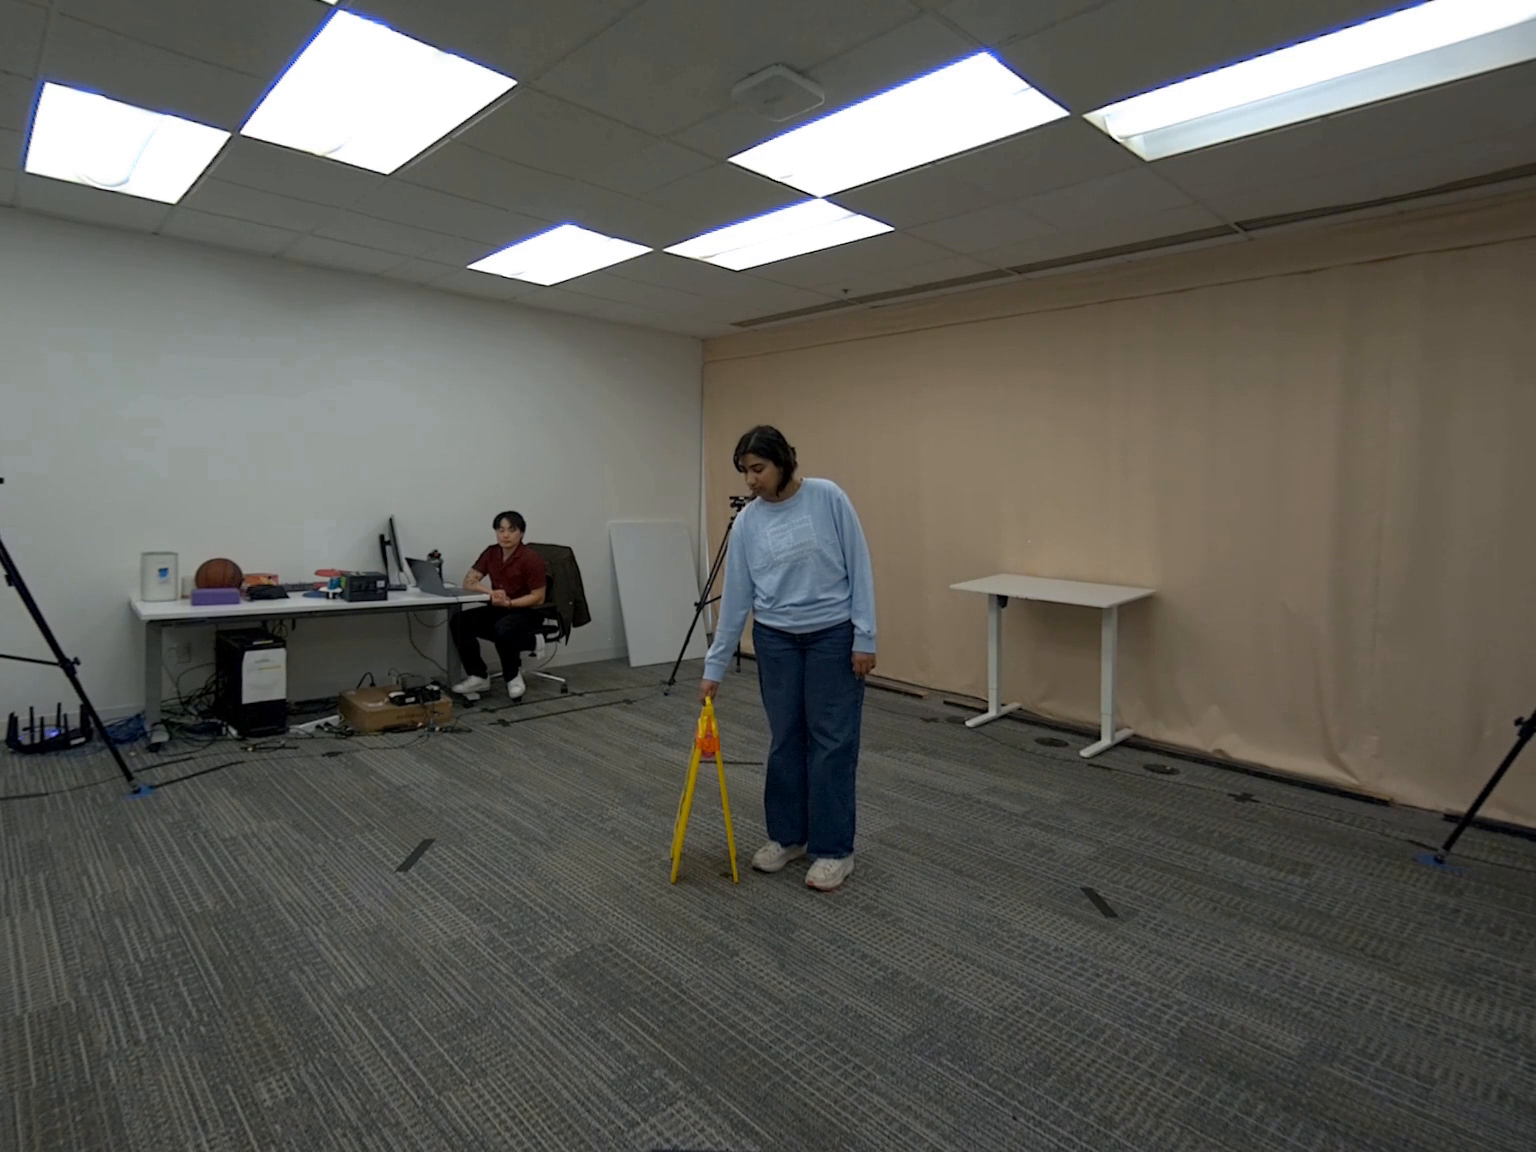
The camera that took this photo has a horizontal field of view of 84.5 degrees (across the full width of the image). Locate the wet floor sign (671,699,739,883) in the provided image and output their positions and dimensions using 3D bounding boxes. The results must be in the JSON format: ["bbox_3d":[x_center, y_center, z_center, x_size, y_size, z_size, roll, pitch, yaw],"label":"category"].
[{"bbox_3d":[-0.238,0.775,3.153,0.289,0.645,0.283,1,2,-3],"label":"wet floor sign"}]
